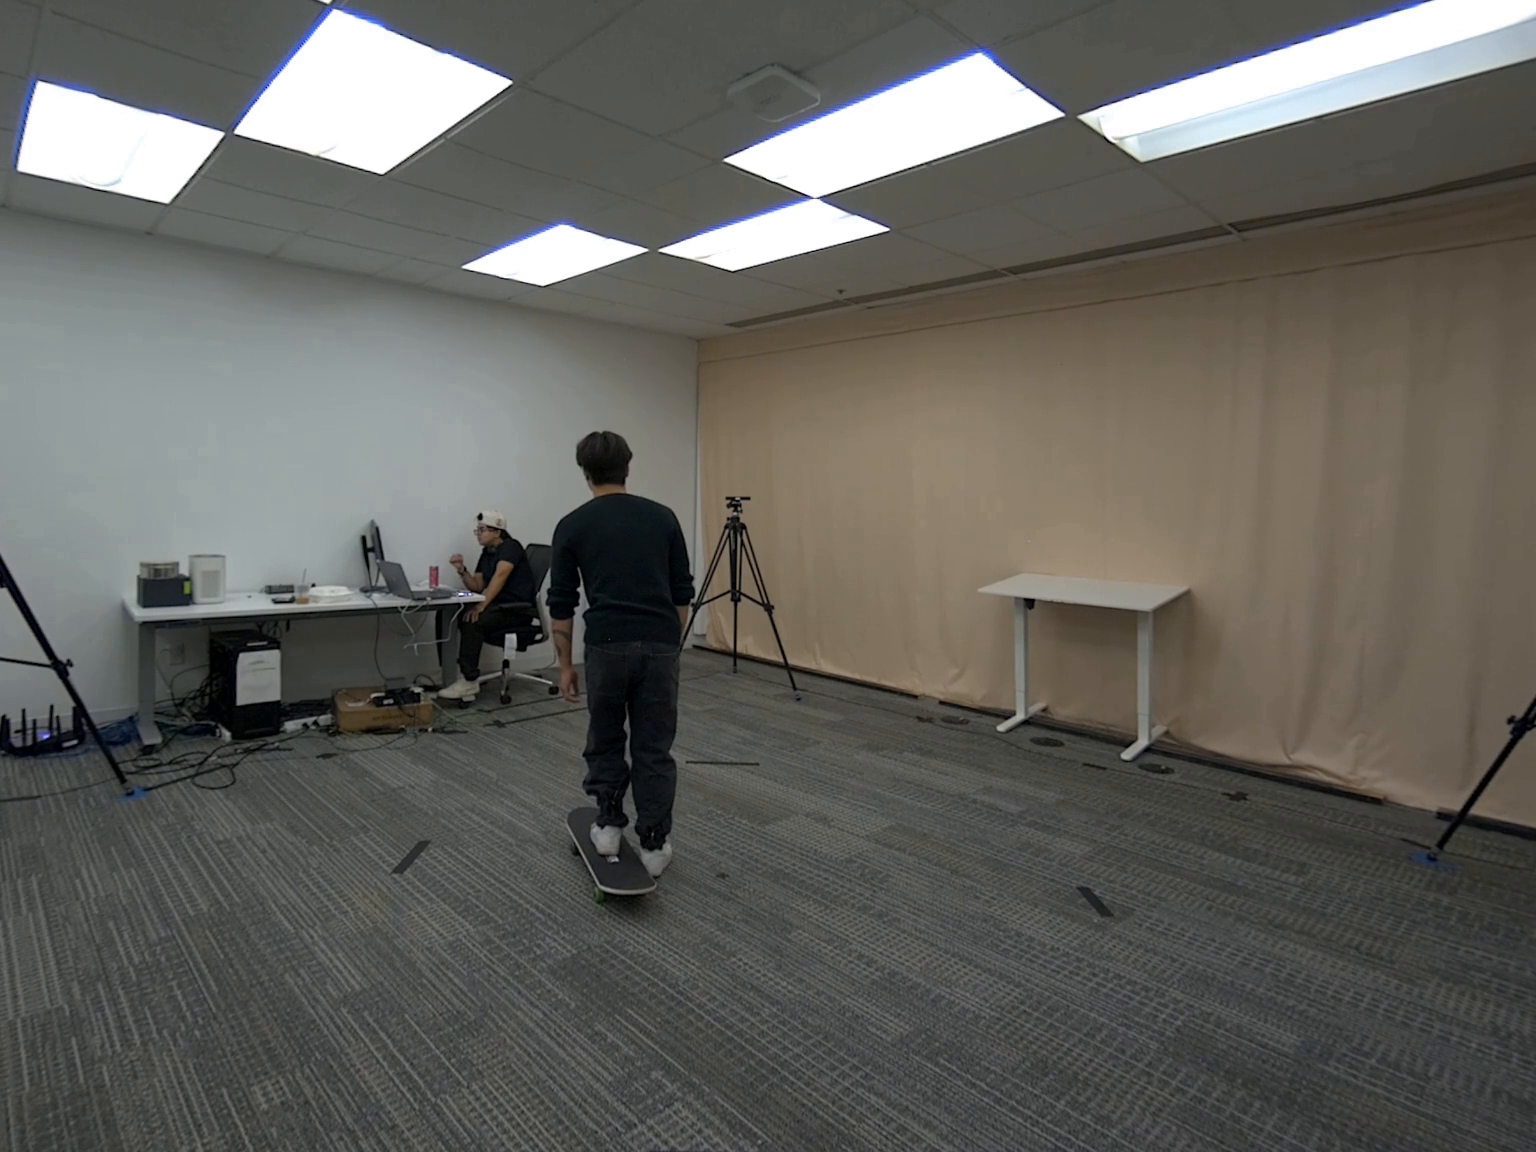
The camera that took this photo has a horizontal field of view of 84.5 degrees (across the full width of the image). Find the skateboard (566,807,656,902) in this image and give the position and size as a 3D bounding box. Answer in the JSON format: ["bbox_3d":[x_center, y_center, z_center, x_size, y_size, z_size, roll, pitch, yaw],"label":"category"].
[{"bbox_3d":[-0.605,1.043,3.105,0.190,0.110,0.801,1,6,-22],"label":"skateboard"}]
